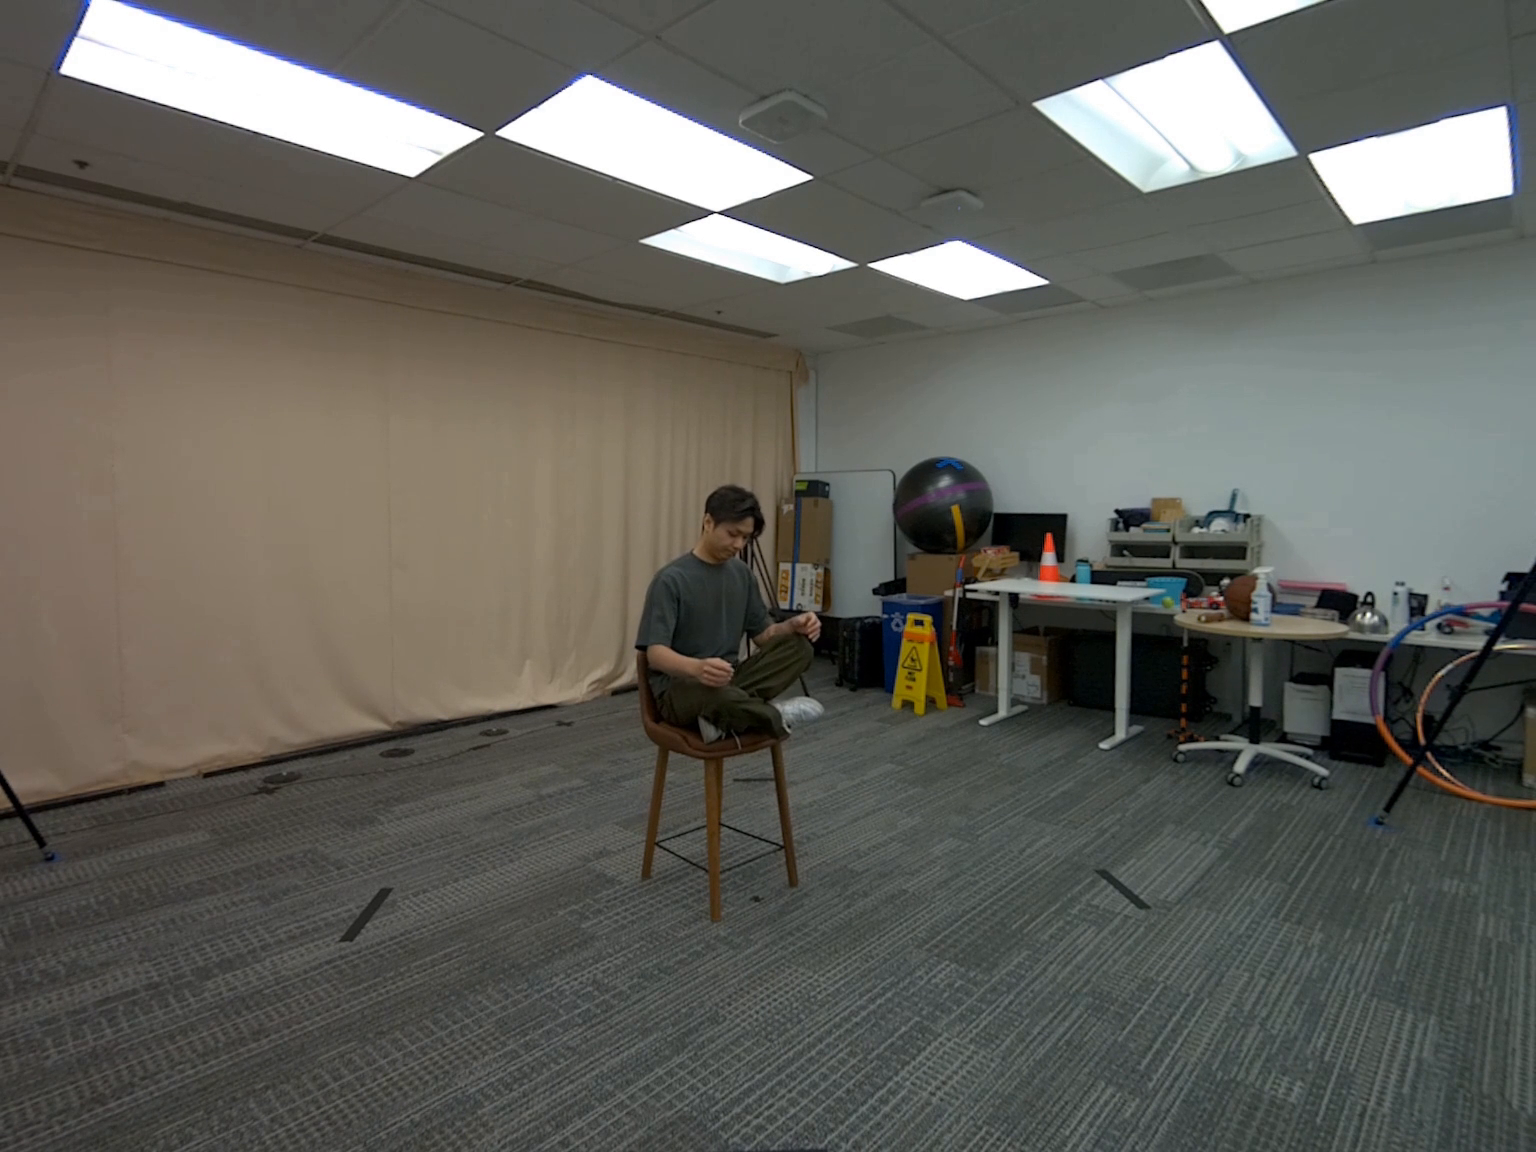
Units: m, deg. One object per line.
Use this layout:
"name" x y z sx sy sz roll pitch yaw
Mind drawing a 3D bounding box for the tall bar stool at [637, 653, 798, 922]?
"tall bar stool" -0.197 0.699 3.102 0.442 0.889 0.482 -4 2 -43
